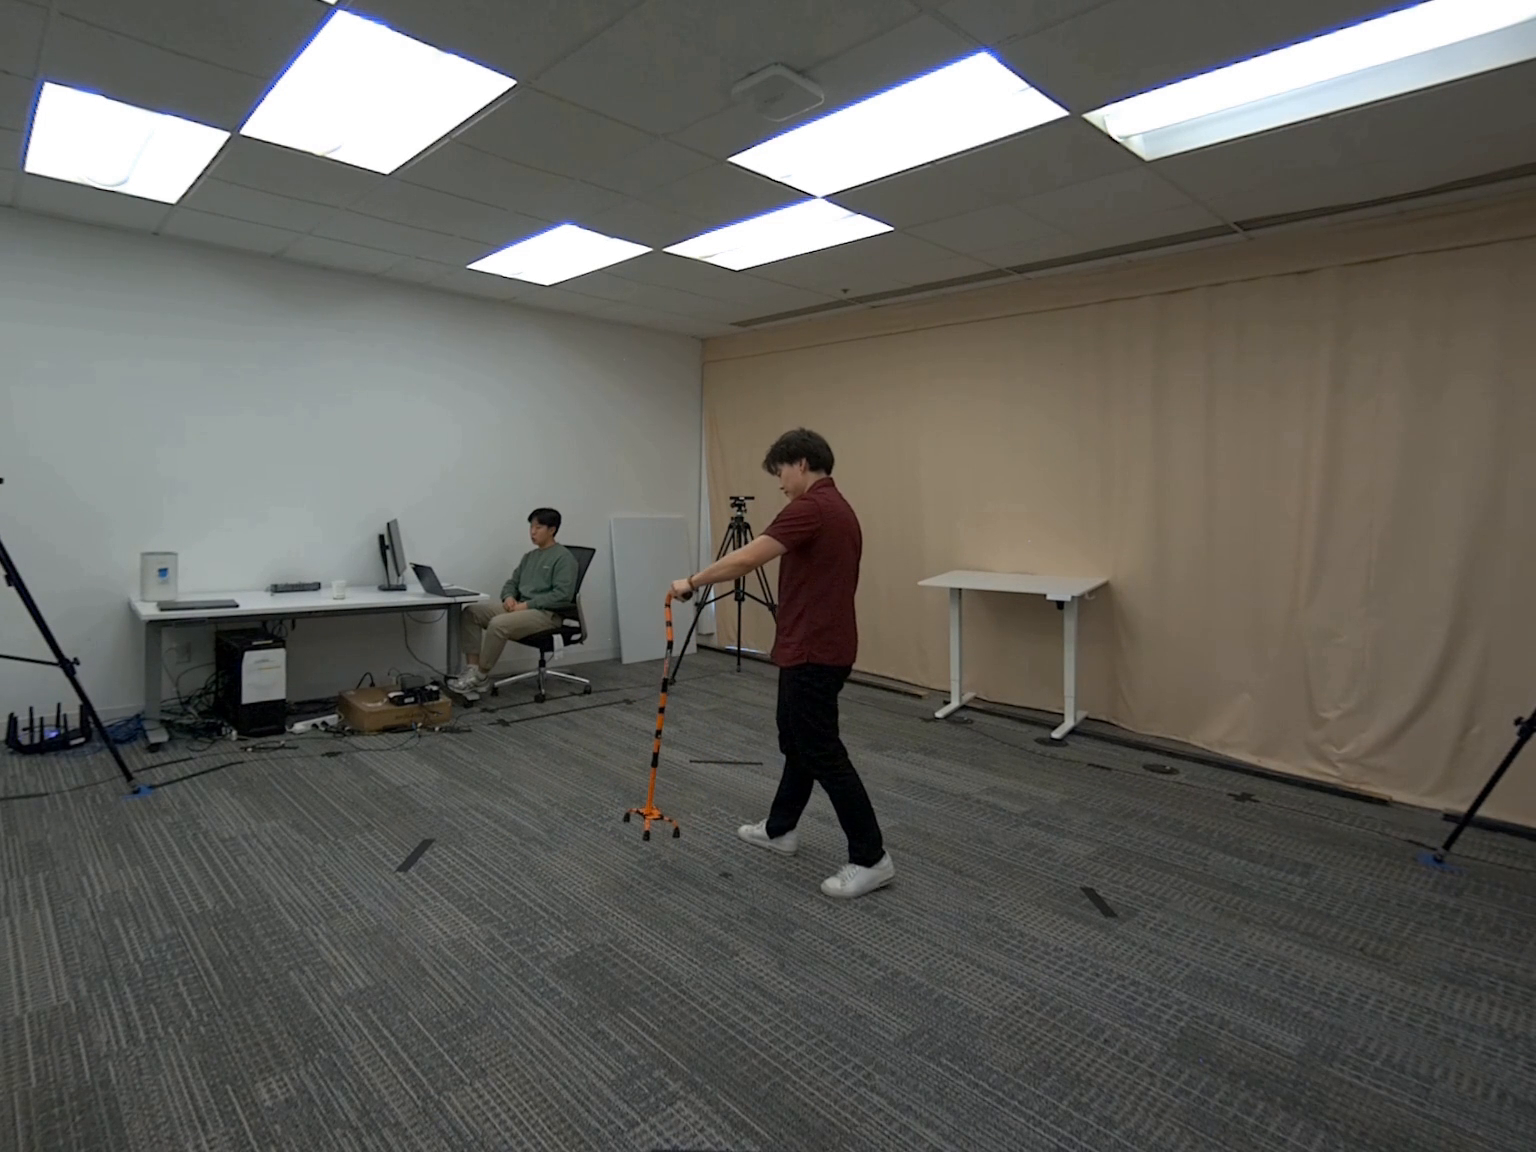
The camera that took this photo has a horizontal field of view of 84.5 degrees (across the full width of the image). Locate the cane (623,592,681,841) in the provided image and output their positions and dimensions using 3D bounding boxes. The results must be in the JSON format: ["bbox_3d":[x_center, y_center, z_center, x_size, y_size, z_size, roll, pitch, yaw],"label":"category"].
[{"bbox_3d":[-0.382,0.492,3.109,0.148,0.907,0.211,6,2,-29],"label":"cane"}]
